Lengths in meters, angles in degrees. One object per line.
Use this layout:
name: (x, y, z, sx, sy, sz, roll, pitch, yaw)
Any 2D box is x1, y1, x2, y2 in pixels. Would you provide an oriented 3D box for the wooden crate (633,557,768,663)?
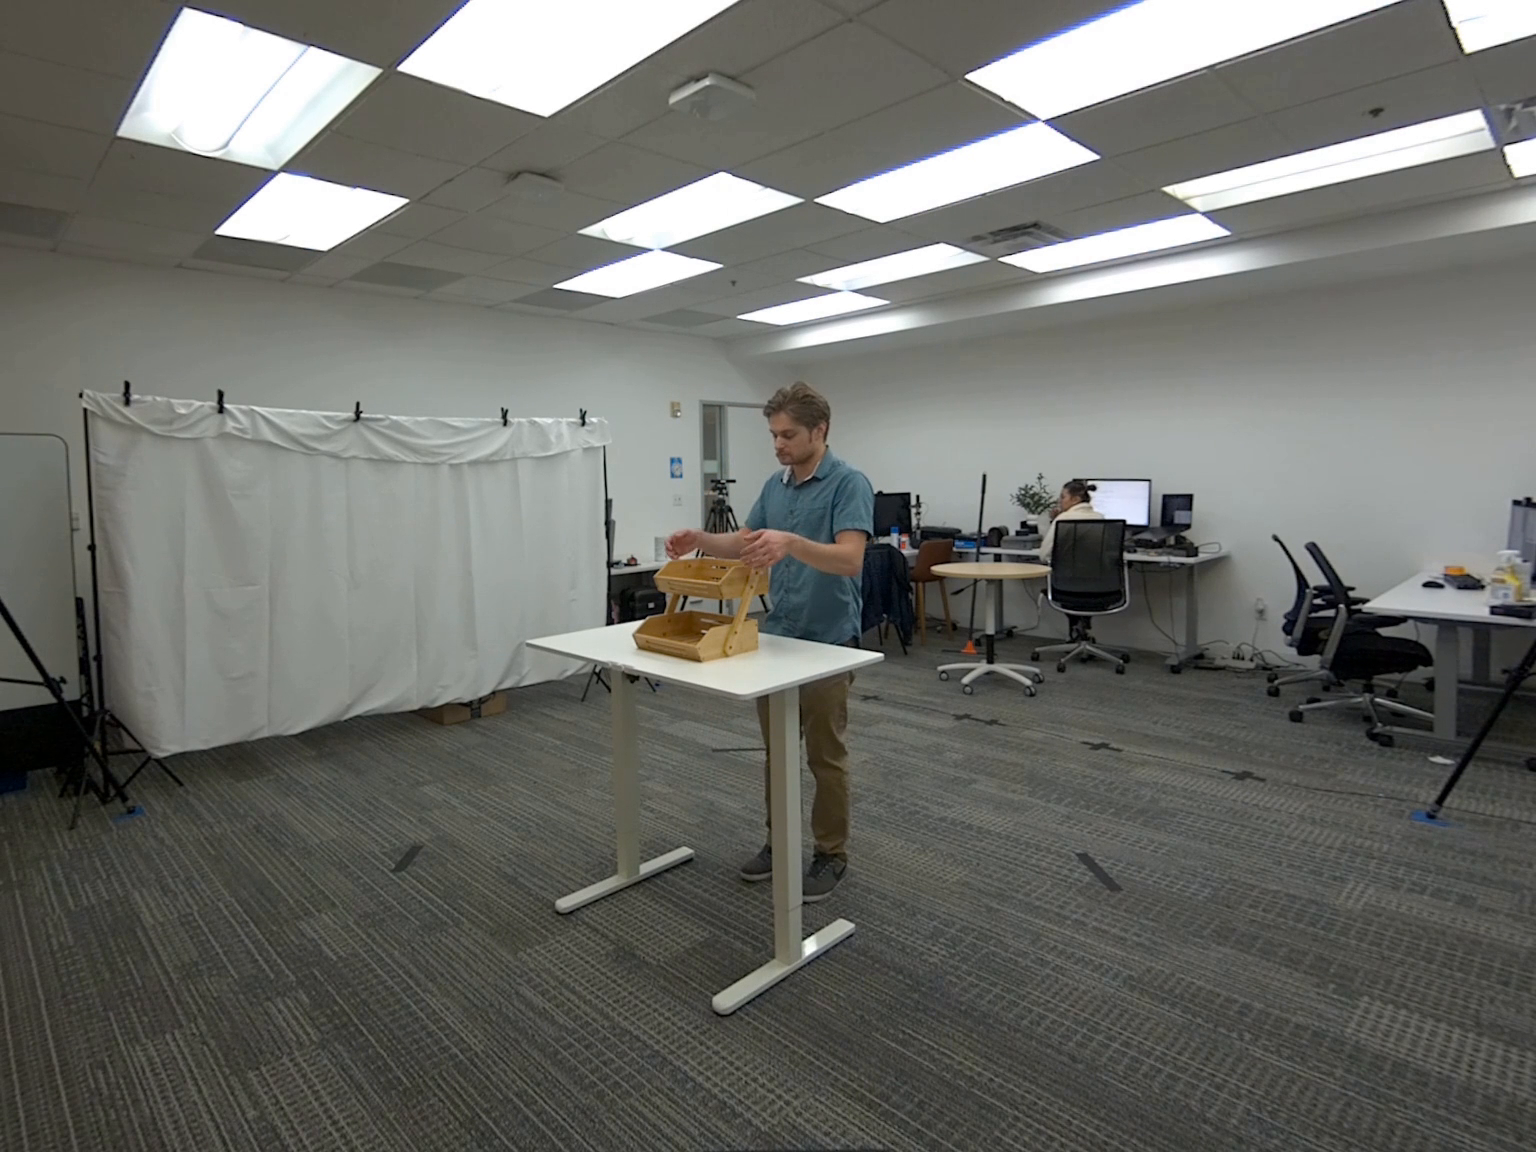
wooden crate: (-0.208, 0.093, 2.623, 0.294, 0.272, 0.334, -6, 8, -45)
